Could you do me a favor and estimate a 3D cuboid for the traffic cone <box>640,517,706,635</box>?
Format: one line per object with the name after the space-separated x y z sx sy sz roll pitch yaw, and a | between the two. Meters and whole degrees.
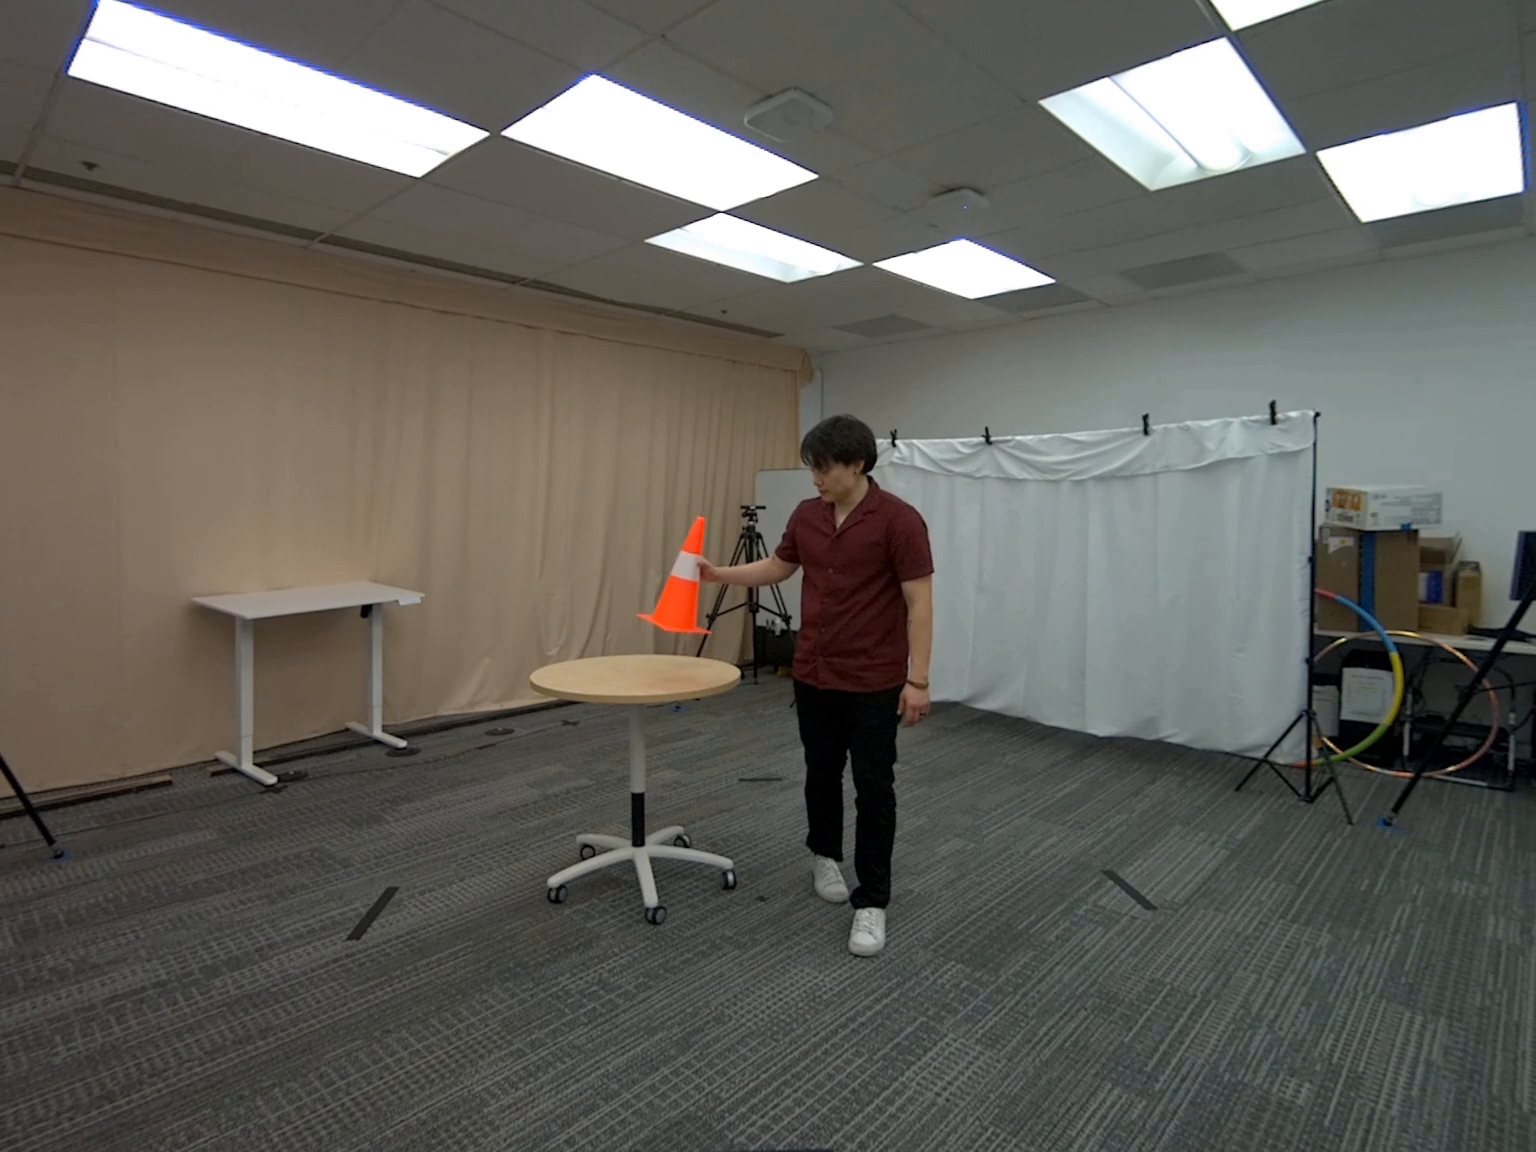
-0.272 -0.010 2.902 0.210 0.383 0.198 18 5 34 | traffic cone
